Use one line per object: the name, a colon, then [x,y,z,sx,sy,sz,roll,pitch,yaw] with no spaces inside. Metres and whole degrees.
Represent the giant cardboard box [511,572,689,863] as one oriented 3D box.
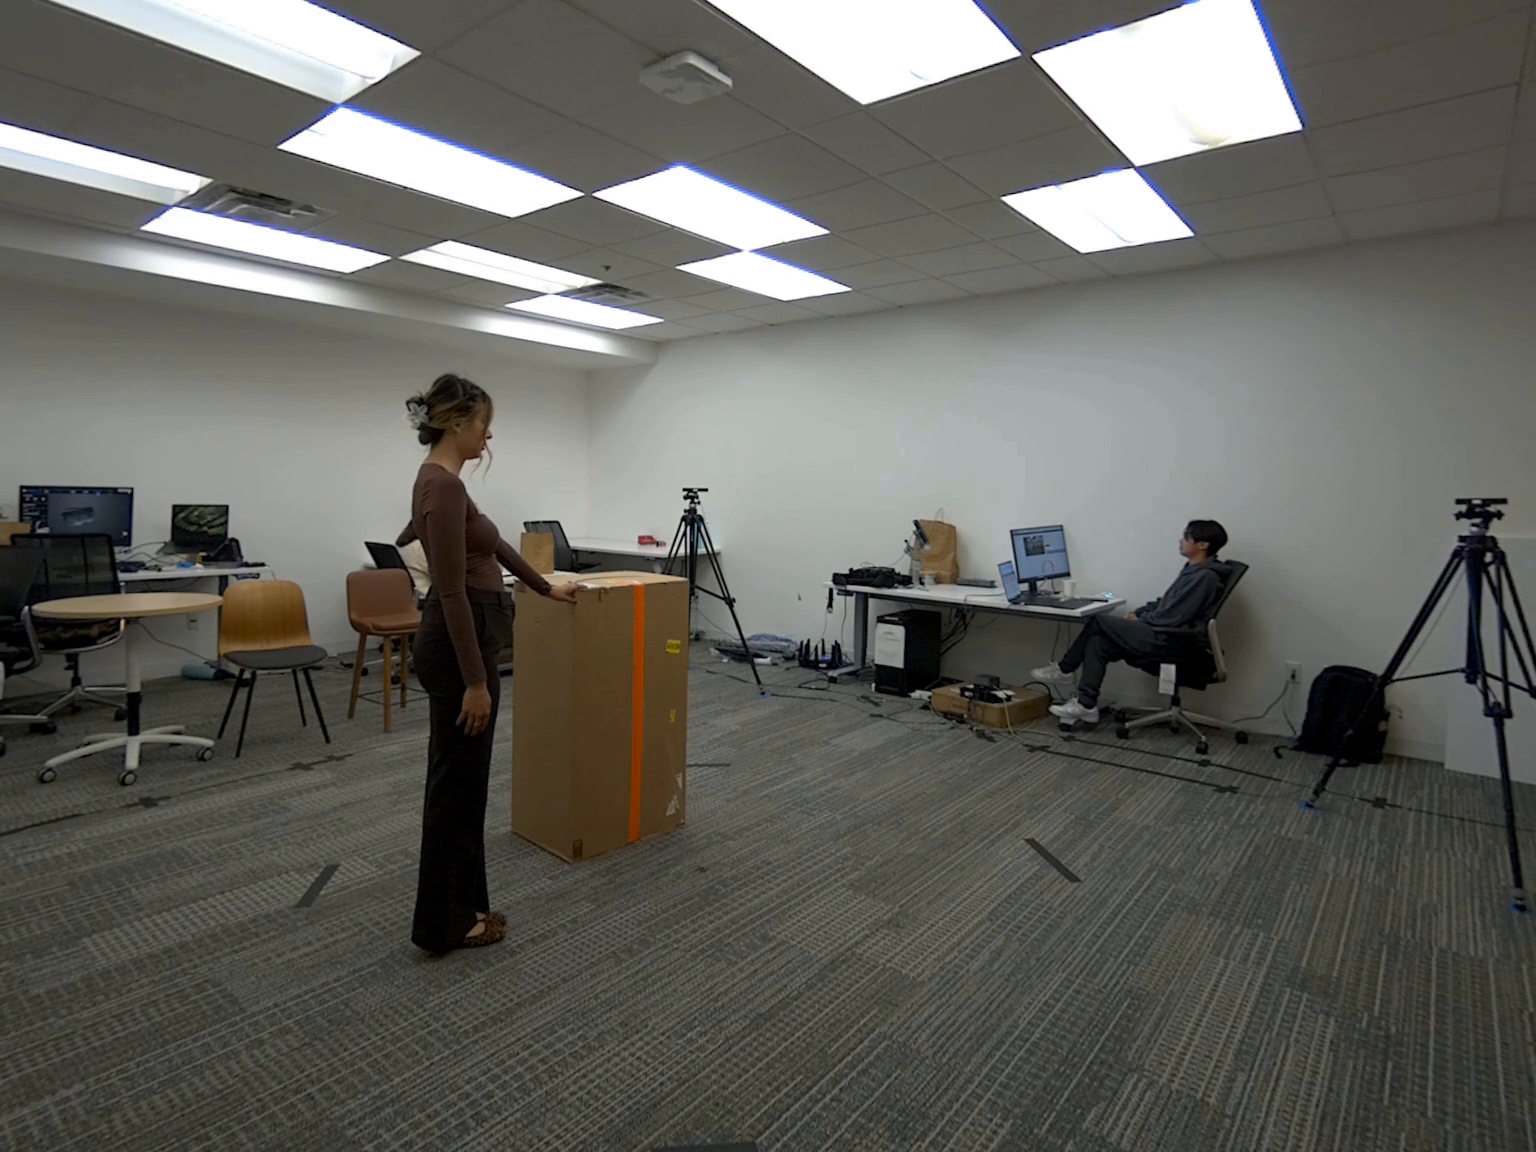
giant cardboard box: [-0.688,0.518,3.455,0.462,1.024,0.566,5,5,45]
